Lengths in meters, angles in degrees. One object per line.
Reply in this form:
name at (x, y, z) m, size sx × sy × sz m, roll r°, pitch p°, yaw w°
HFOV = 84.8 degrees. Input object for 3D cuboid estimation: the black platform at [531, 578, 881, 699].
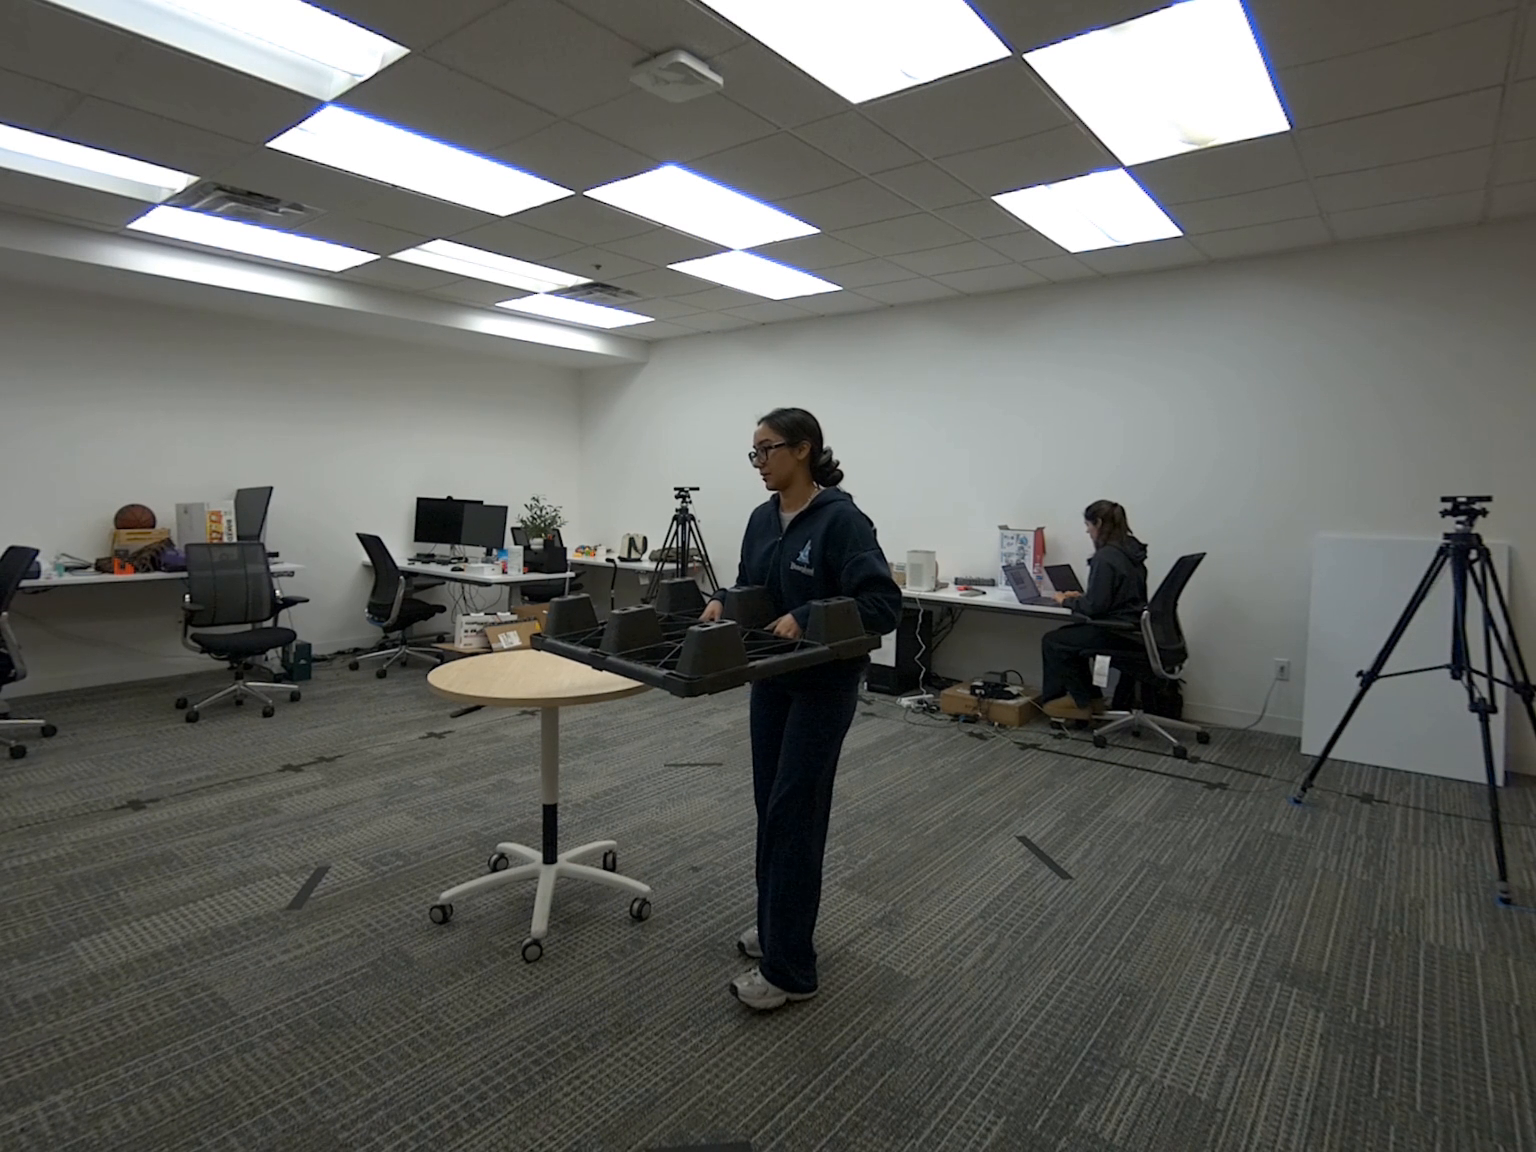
black platform at (-0.217, 0.128, 2.247) m, size 0.589 × 0.142 × 0.832 m, roll -10°, pitch 10°, yaw -38°
